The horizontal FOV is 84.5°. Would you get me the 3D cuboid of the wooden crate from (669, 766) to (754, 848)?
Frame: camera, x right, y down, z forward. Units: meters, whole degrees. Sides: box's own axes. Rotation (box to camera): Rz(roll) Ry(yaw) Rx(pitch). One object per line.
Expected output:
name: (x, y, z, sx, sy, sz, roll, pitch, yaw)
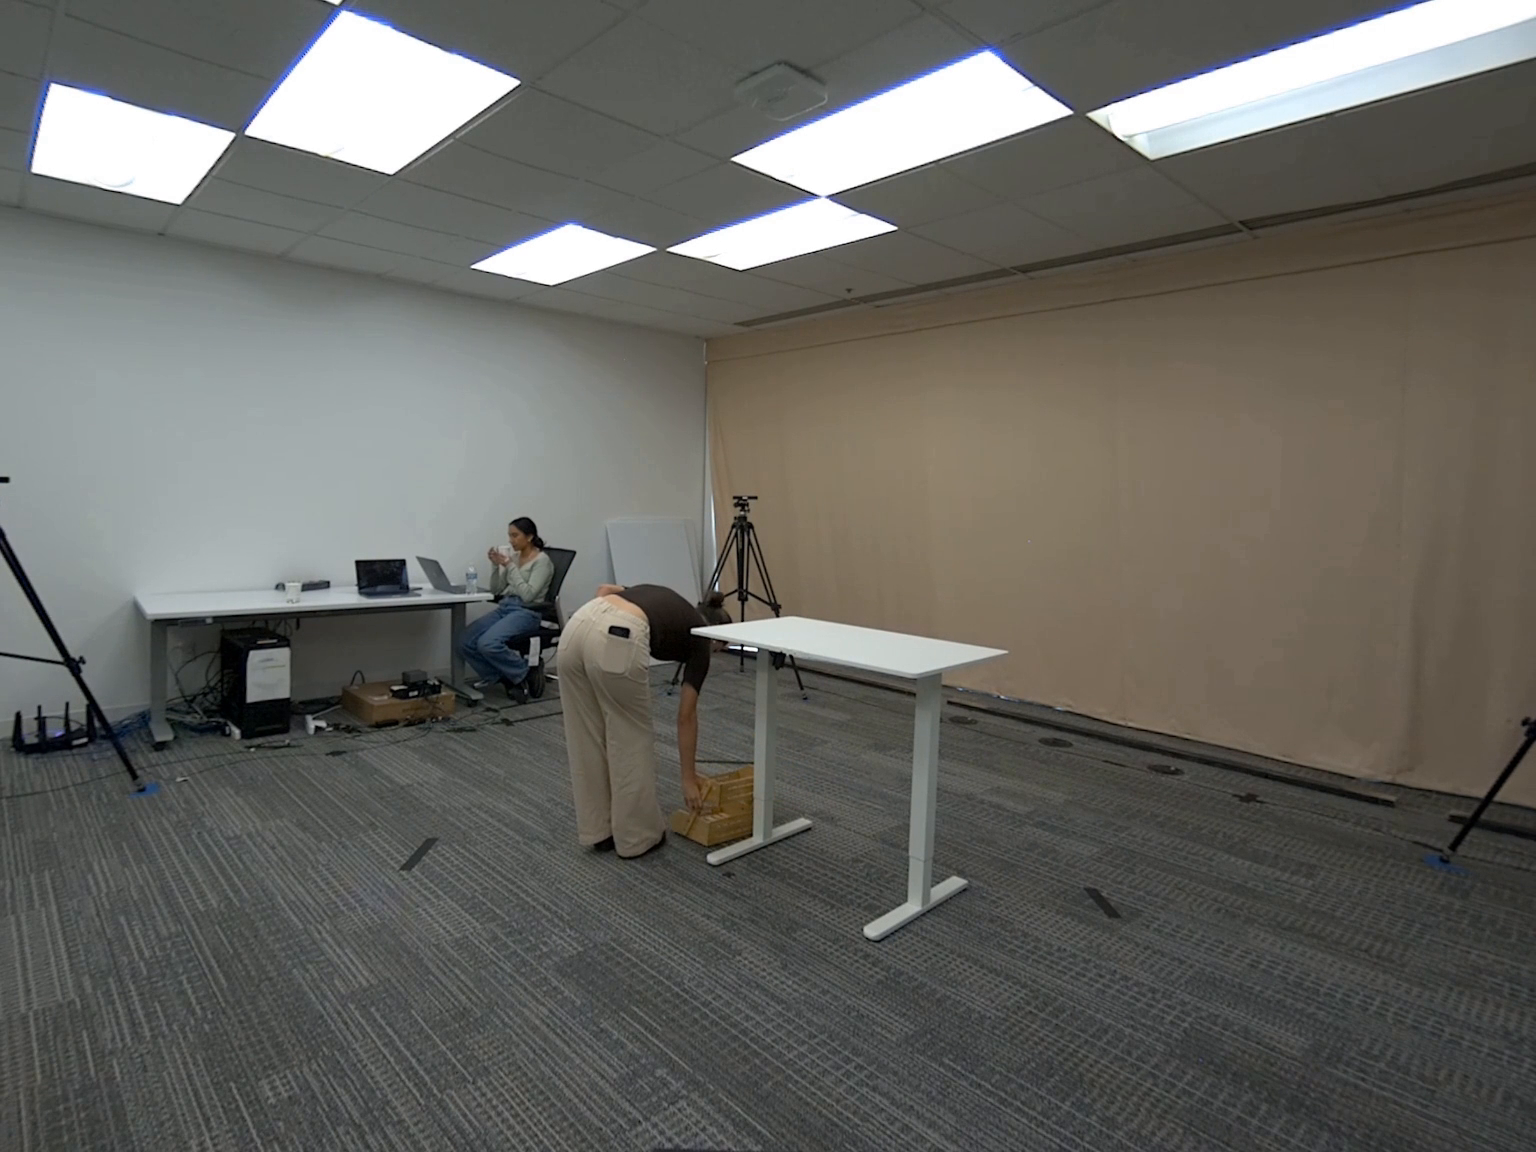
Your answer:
wooden crate: (-0.209, 0.929, 3.492, 0.310, 0.273, 0.316, 6, 3, 44)
